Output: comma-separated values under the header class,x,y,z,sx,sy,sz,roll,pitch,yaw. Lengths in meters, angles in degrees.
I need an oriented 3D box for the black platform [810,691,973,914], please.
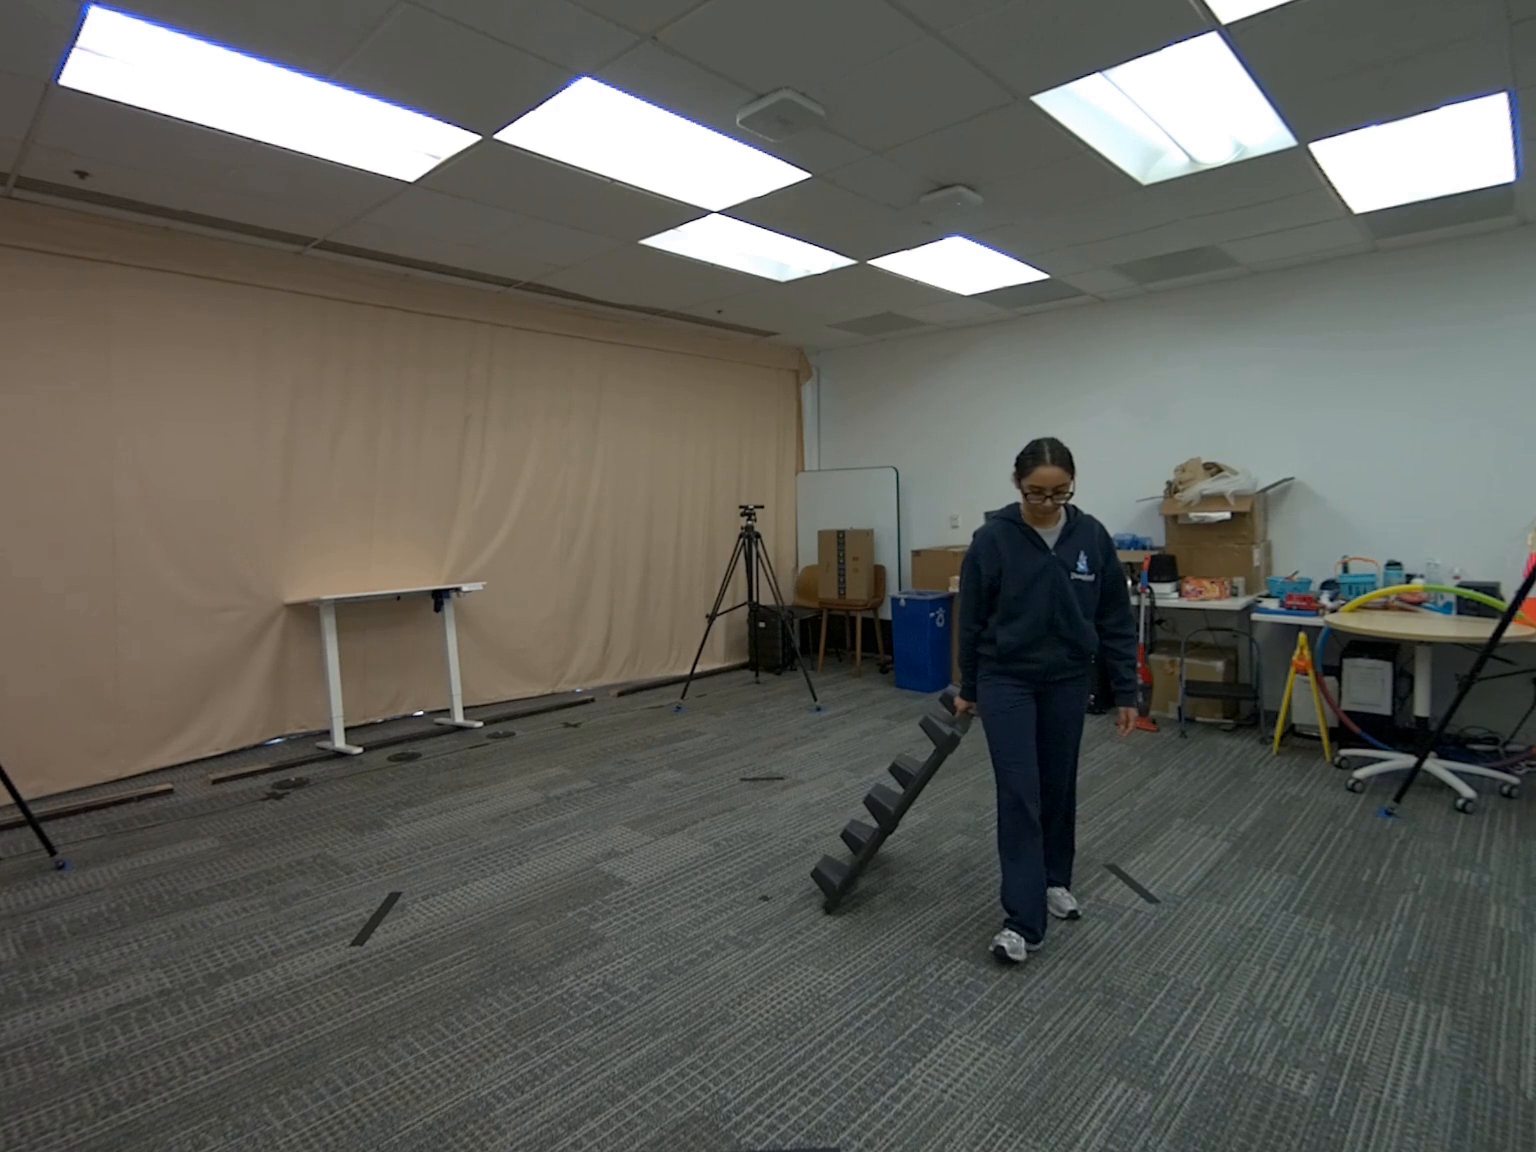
class,x,y,z,sx,sy,sz,roll,pitch,yaw
black platform,0.470,0.769,3.019,0.146,0.806,0.592,36,16,16
